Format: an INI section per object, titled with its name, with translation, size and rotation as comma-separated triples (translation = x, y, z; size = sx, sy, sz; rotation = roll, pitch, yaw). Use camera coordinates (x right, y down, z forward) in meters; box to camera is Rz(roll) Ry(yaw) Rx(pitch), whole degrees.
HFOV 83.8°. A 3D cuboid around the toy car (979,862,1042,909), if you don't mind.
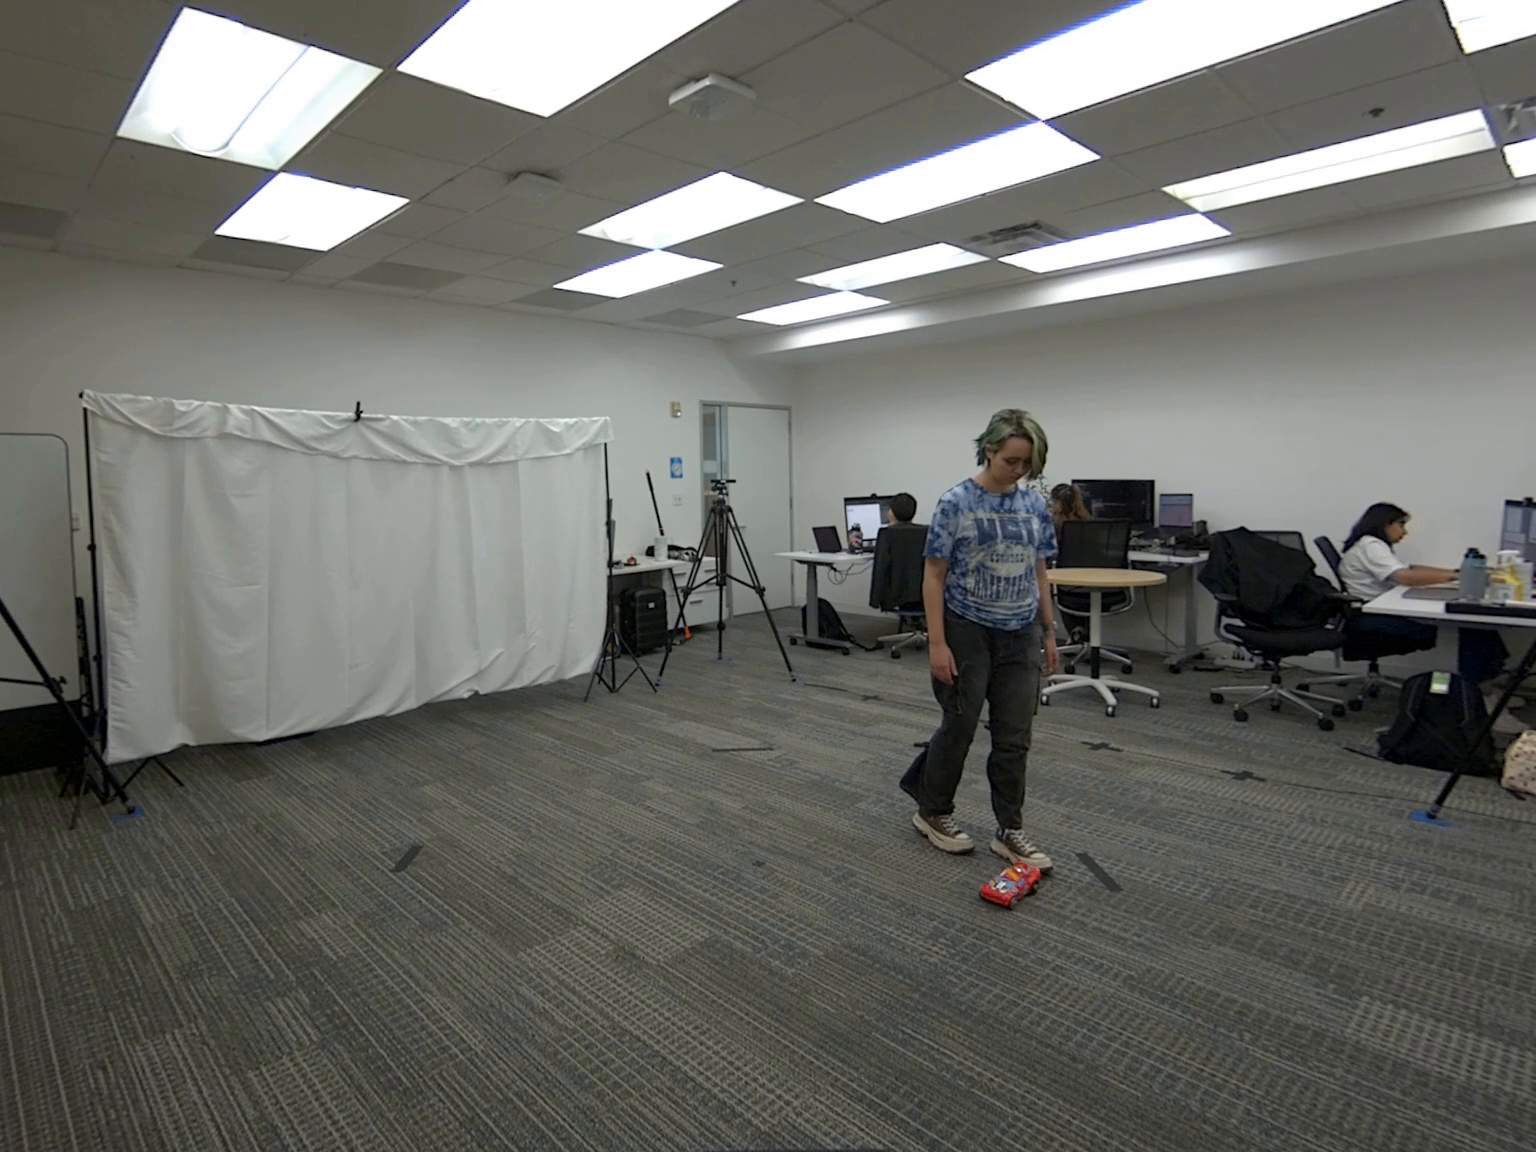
[toy car]
translation = 0.821, 1.033, 2.844
size = 0.134, 0.082, 0.250
rotation = 5, 20, 45
